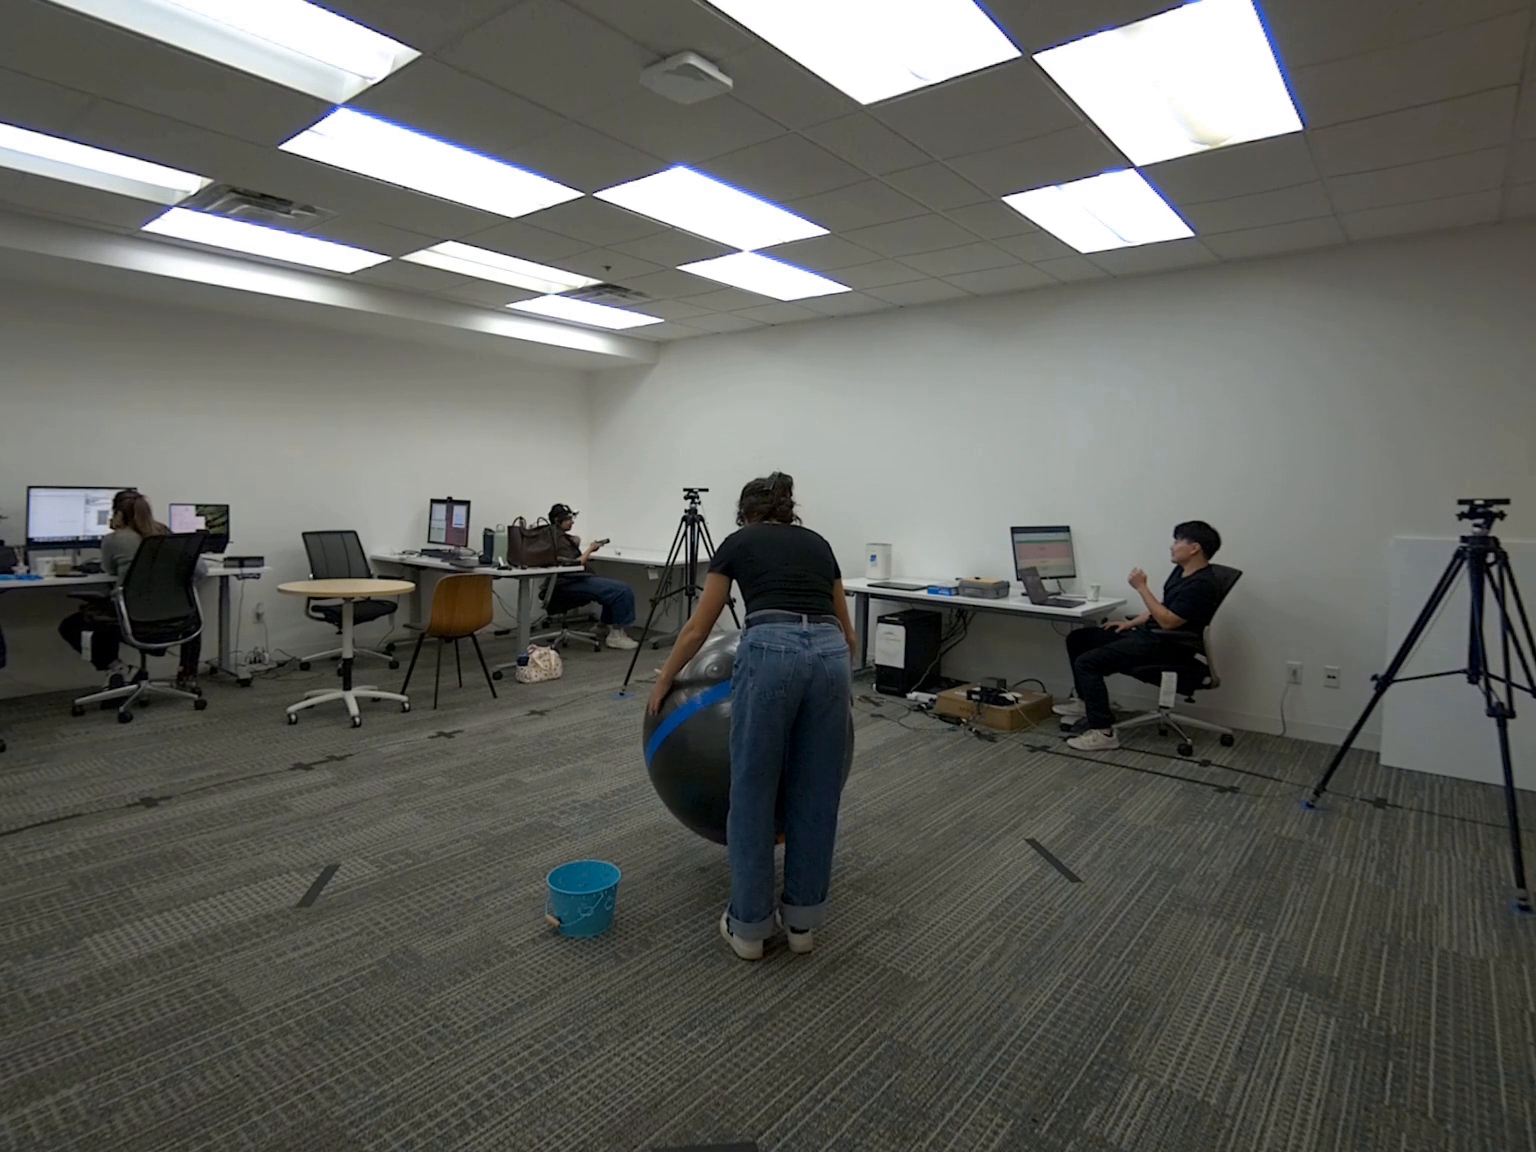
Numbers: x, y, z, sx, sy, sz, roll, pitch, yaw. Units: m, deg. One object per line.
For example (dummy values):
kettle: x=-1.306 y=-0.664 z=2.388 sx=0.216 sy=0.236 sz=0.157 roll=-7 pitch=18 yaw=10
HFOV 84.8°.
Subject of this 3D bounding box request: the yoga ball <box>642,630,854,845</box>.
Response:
yoga ball: x=-0.078 y=0.589 z=3.059 sx=0.757 sy=0.755 sz=0.762 roll=1 pitch=4 yaw=-2
